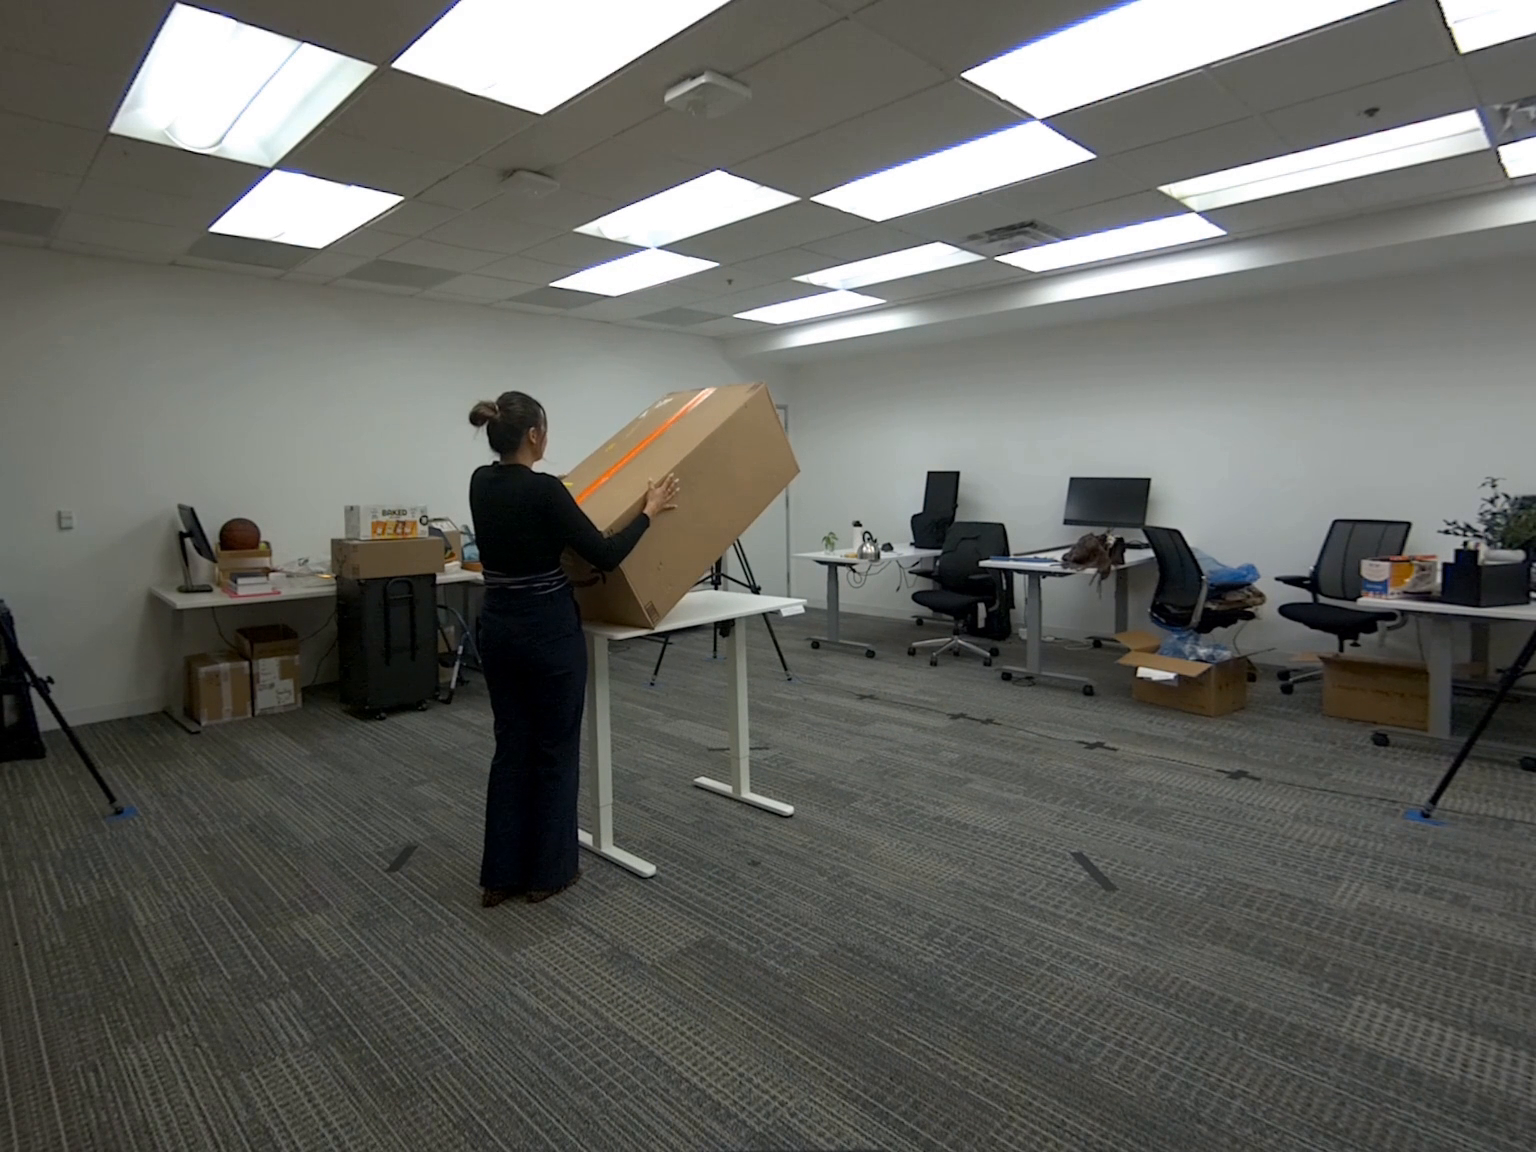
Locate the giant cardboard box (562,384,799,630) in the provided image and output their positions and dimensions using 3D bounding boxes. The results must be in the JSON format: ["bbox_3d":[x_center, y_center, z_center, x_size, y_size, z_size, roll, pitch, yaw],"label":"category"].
[{"bbox_3d":[-0.419,-0.298,3.358,0.595,0.413,1.027,2,40,40],"label":"giant cardboard box"}]
